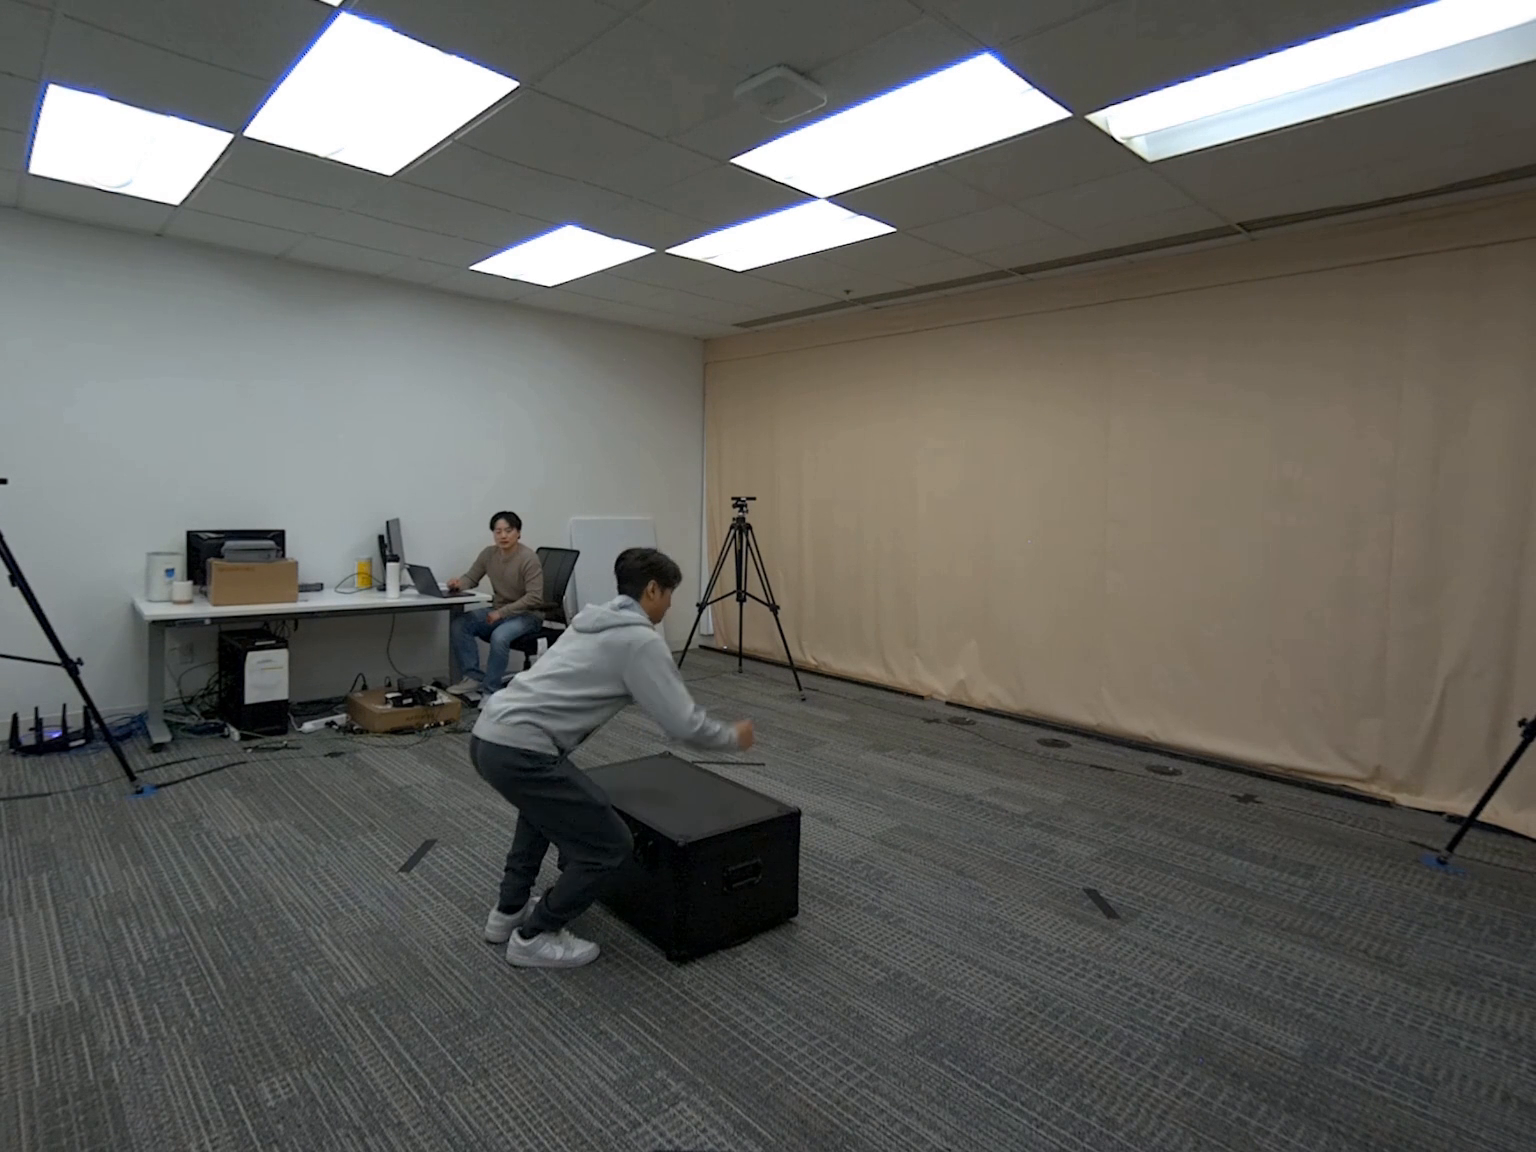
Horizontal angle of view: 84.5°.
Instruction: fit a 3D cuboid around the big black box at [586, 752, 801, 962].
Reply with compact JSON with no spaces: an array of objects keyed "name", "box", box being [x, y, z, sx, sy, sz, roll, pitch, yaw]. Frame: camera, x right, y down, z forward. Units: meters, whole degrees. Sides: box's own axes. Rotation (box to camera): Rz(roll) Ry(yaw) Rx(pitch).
[{"name":"big black box","box":[-0.353,0.927,2.941,0.509,0.395,0.884,-3,7,-40]}]
